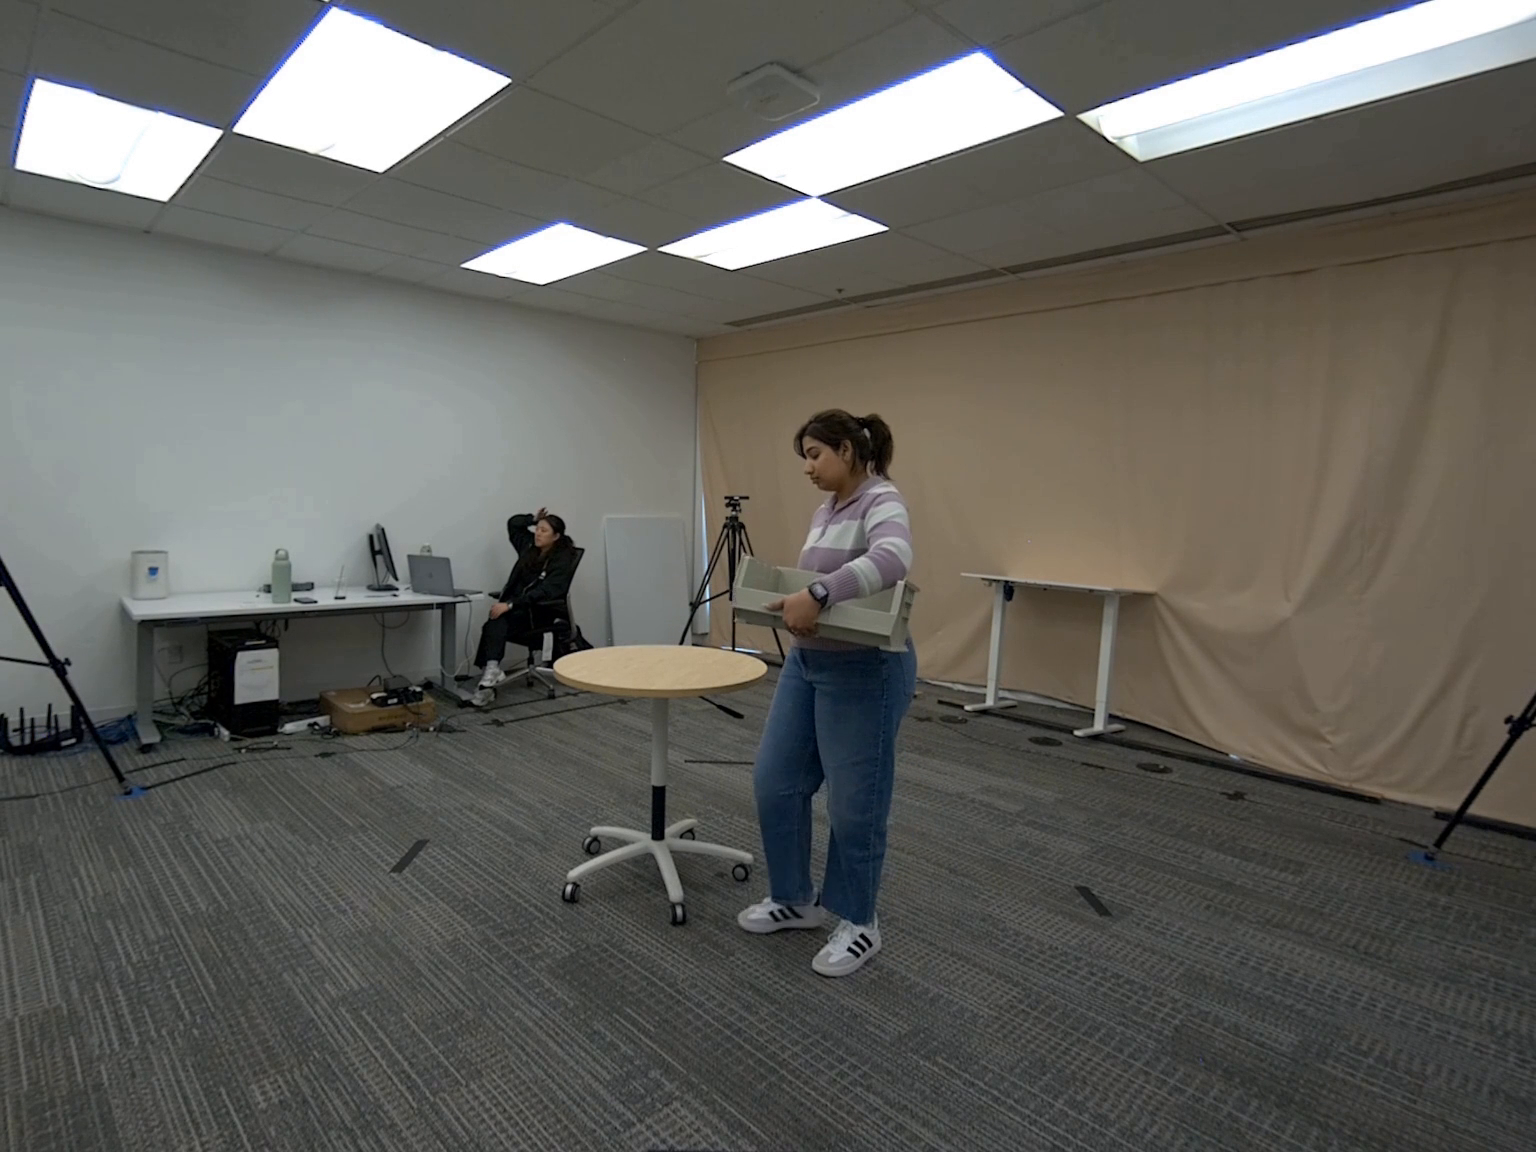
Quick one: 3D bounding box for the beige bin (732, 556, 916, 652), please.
[{"bbox_3d":[0.151,0.081,2.236,0.429,0.189,0.370,9,-4,18],"label":"beige bin"}]
